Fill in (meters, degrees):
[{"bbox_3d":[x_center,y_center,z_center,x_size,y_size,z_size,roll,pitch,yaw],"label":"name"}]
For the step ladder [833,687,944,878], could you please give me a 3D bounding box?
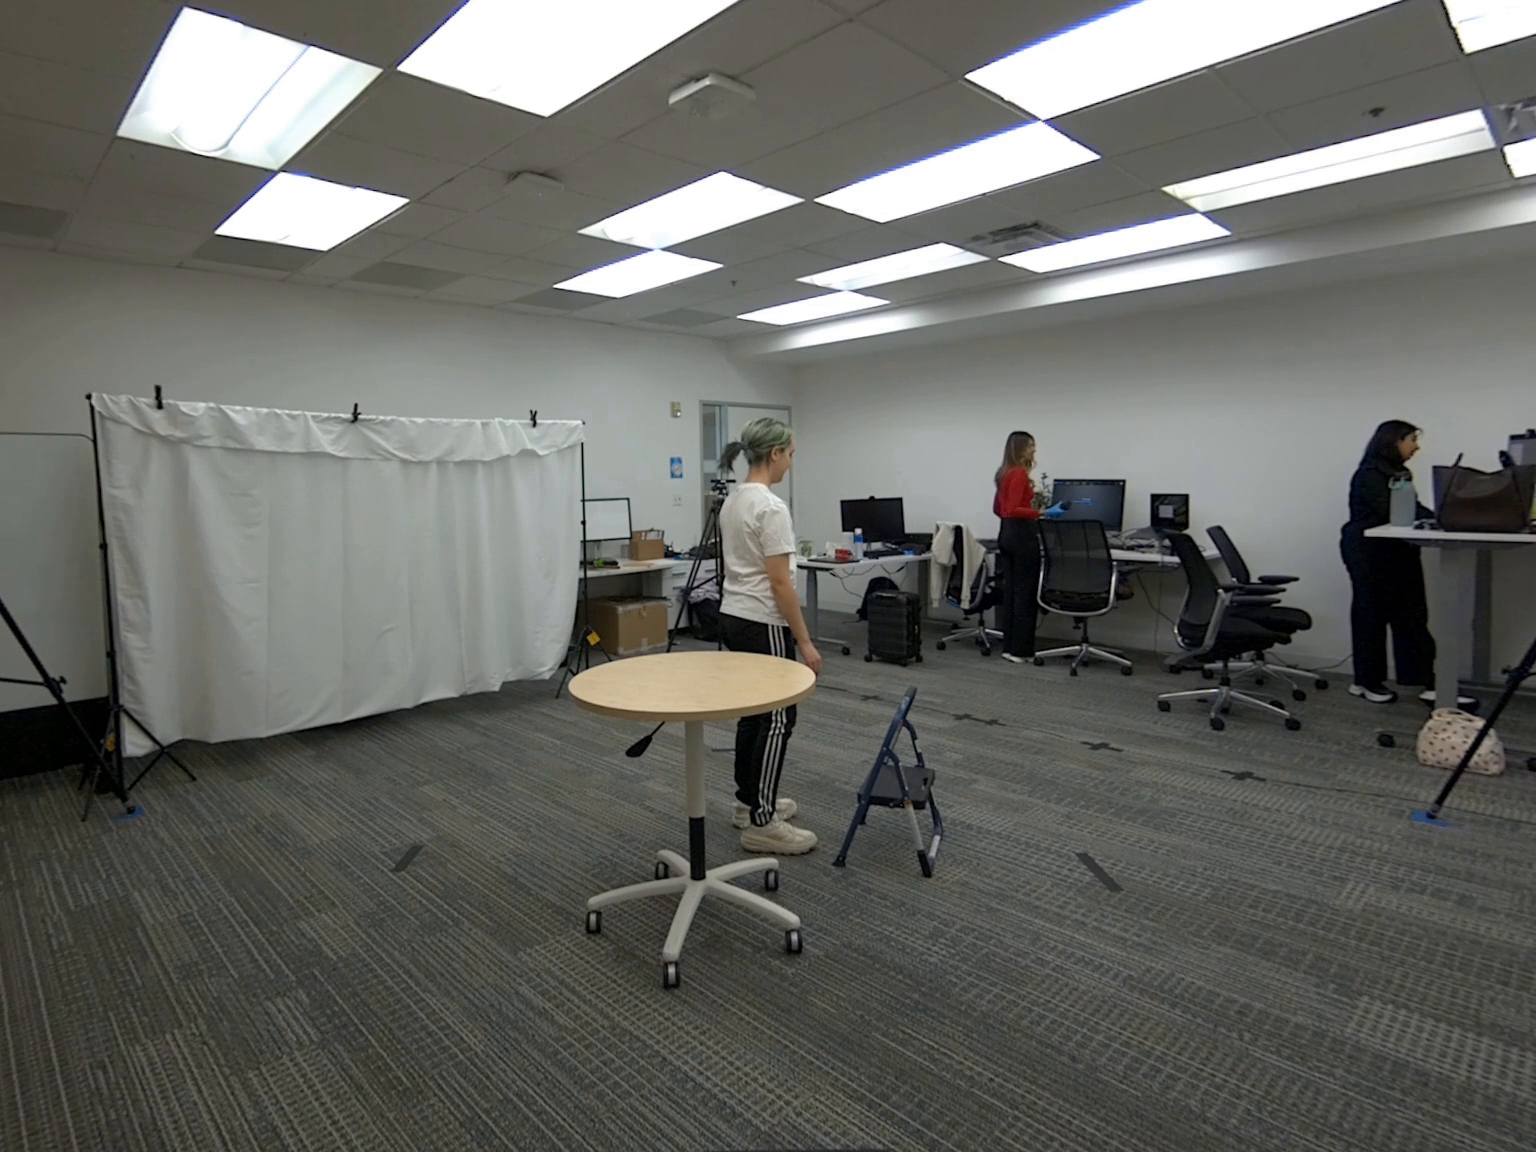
[{"bbox_3d":[0.461,0.726,3.195,0.356,0.604,0.424,0,5,19],"label":"step ladder"}]
